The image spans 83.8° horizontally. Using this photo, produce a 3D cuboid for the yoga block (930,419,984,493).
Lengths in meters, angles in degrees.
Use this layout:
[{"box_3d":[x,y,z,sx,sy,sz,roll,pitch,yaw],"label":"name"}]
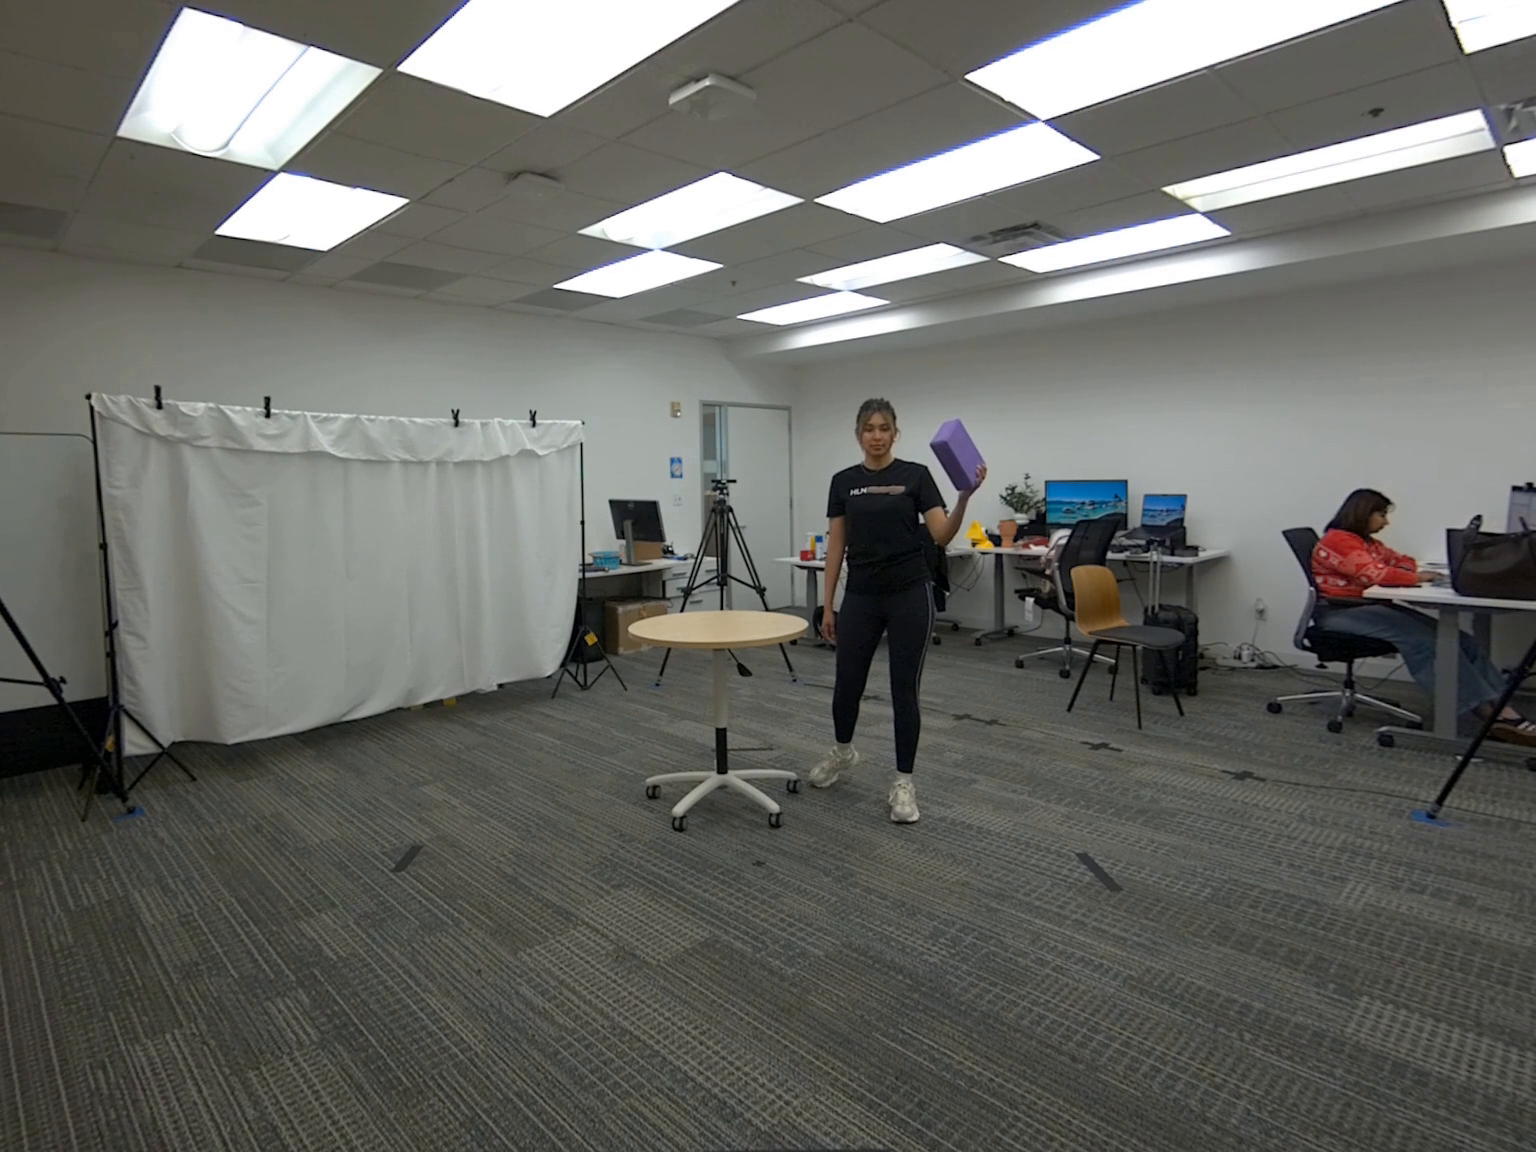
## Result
[{"box_3d":[0.690,-0.445,3.173,0.078,0.224,0.149,-14,30,49],"label":"yoga block"}]
